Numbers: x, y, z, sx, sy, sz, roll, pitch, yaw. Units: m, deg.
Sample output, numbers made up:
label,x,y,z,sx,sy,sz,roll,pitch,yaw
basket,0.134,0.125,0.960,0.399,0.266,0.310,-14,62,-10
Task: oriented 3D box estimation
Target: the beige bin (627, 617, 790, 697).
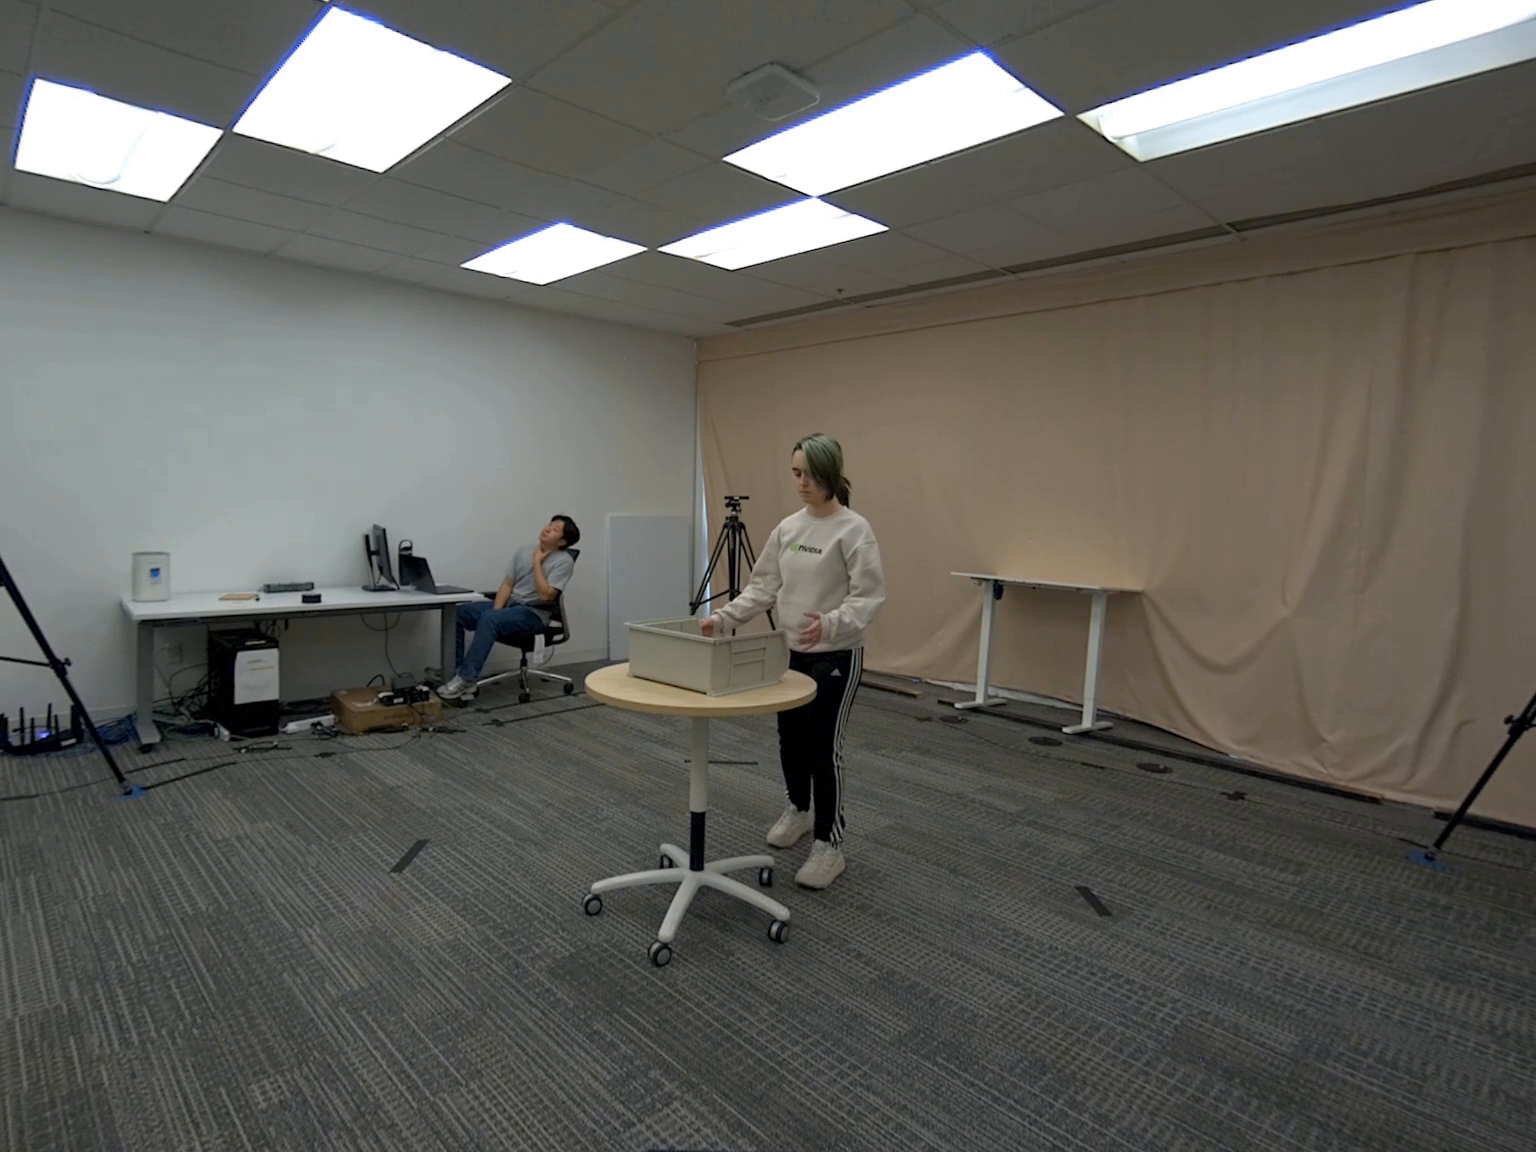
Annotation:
label,x,y,z,sx,sy,sz,roll,pitch,yaw
beige bin,-0.209,0.258,2.813,0.433,0.188,0.369,6,7,41
